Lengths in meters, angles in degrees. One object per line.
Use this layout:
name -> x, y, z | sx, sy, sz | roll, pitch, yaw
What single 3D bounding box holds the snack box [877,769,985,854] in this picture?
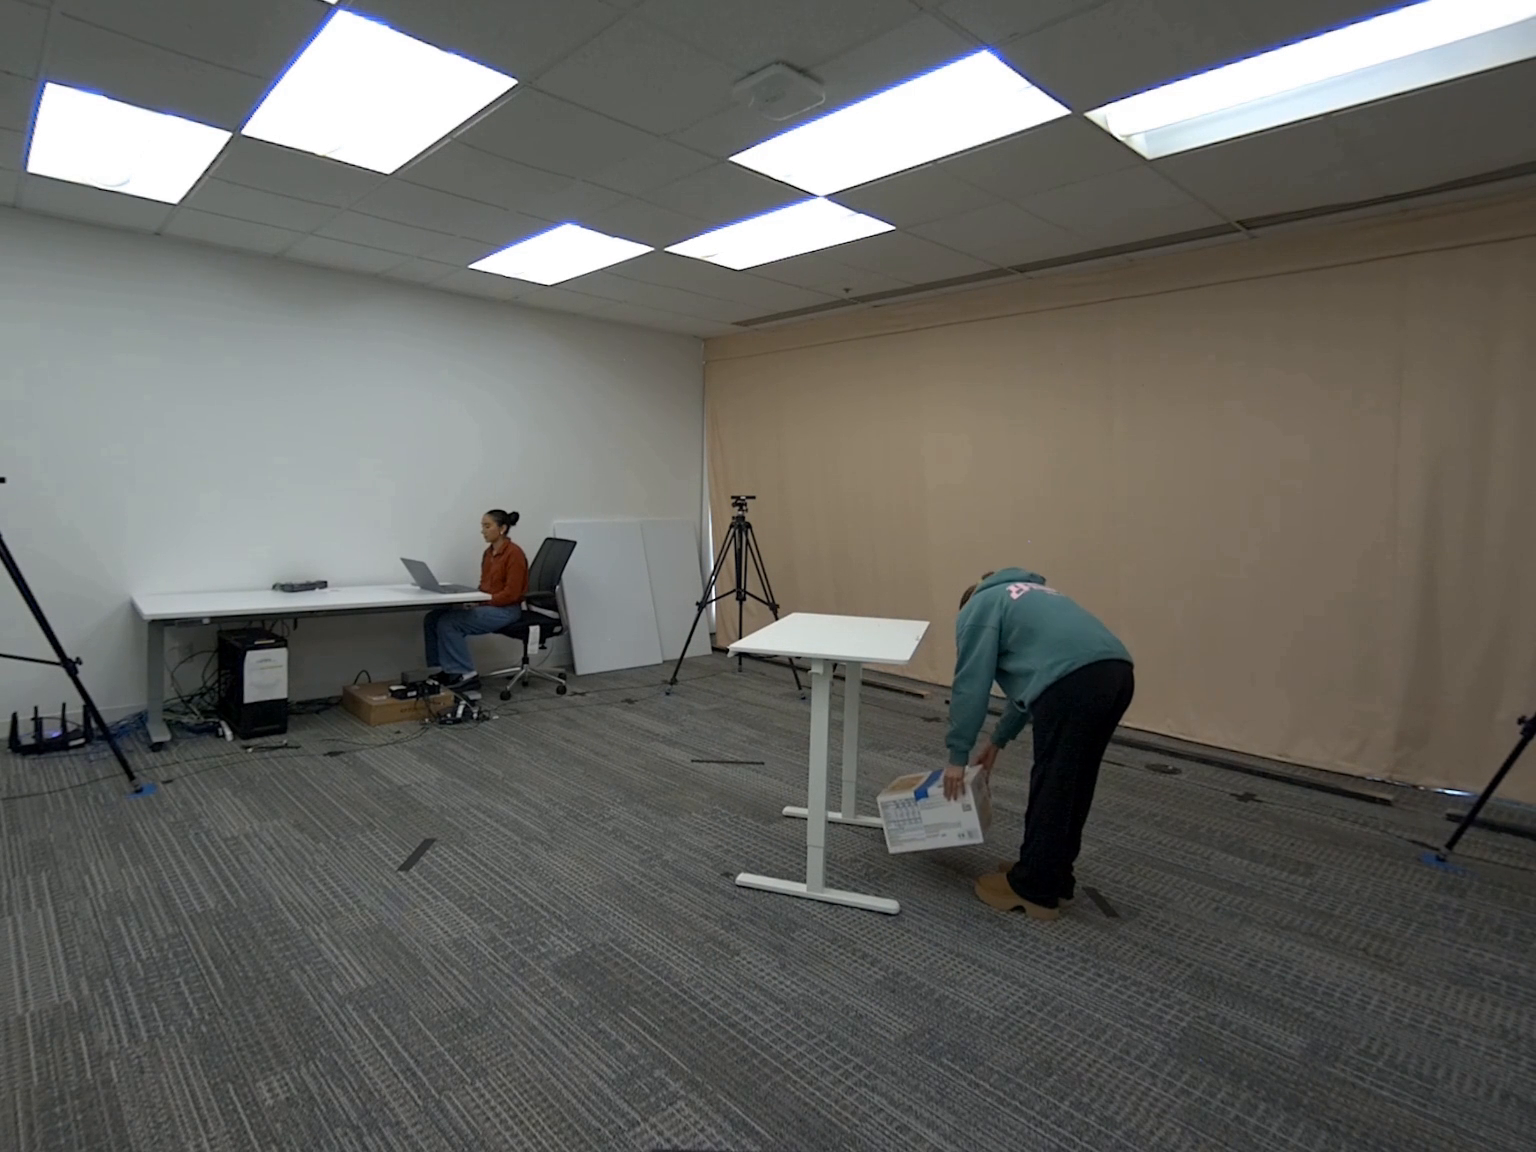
snack box -> 0.631, 0.859, 3.132 | 0.344, 0.207, 0.398 | -15, -7, 20
